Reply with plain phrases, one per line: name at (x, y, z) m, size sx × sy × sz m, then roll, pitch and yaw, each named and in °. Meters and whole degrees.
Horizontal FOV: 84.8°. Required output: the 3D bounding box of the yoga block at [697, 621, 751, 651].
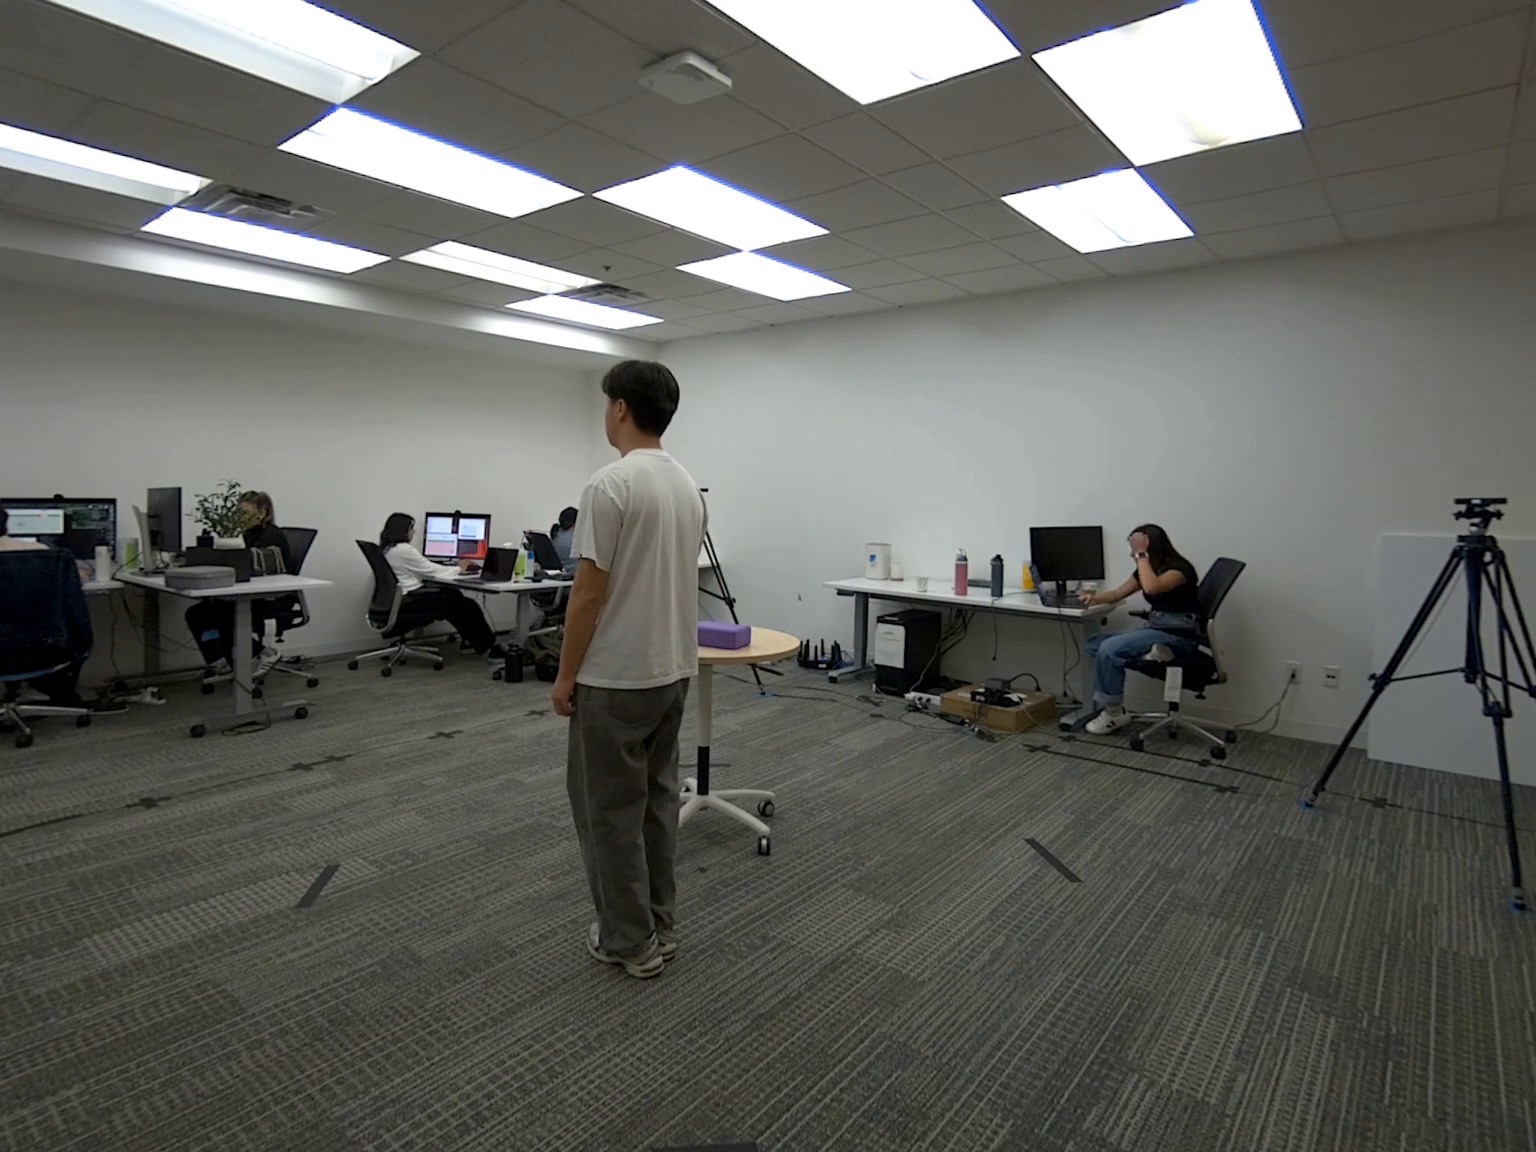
yoga block at (-0.199, 0.223, 3.336) m, size 0.236 × 0.076 × 0.145 m, roll 4°, pitch 5°, yaw 27°
